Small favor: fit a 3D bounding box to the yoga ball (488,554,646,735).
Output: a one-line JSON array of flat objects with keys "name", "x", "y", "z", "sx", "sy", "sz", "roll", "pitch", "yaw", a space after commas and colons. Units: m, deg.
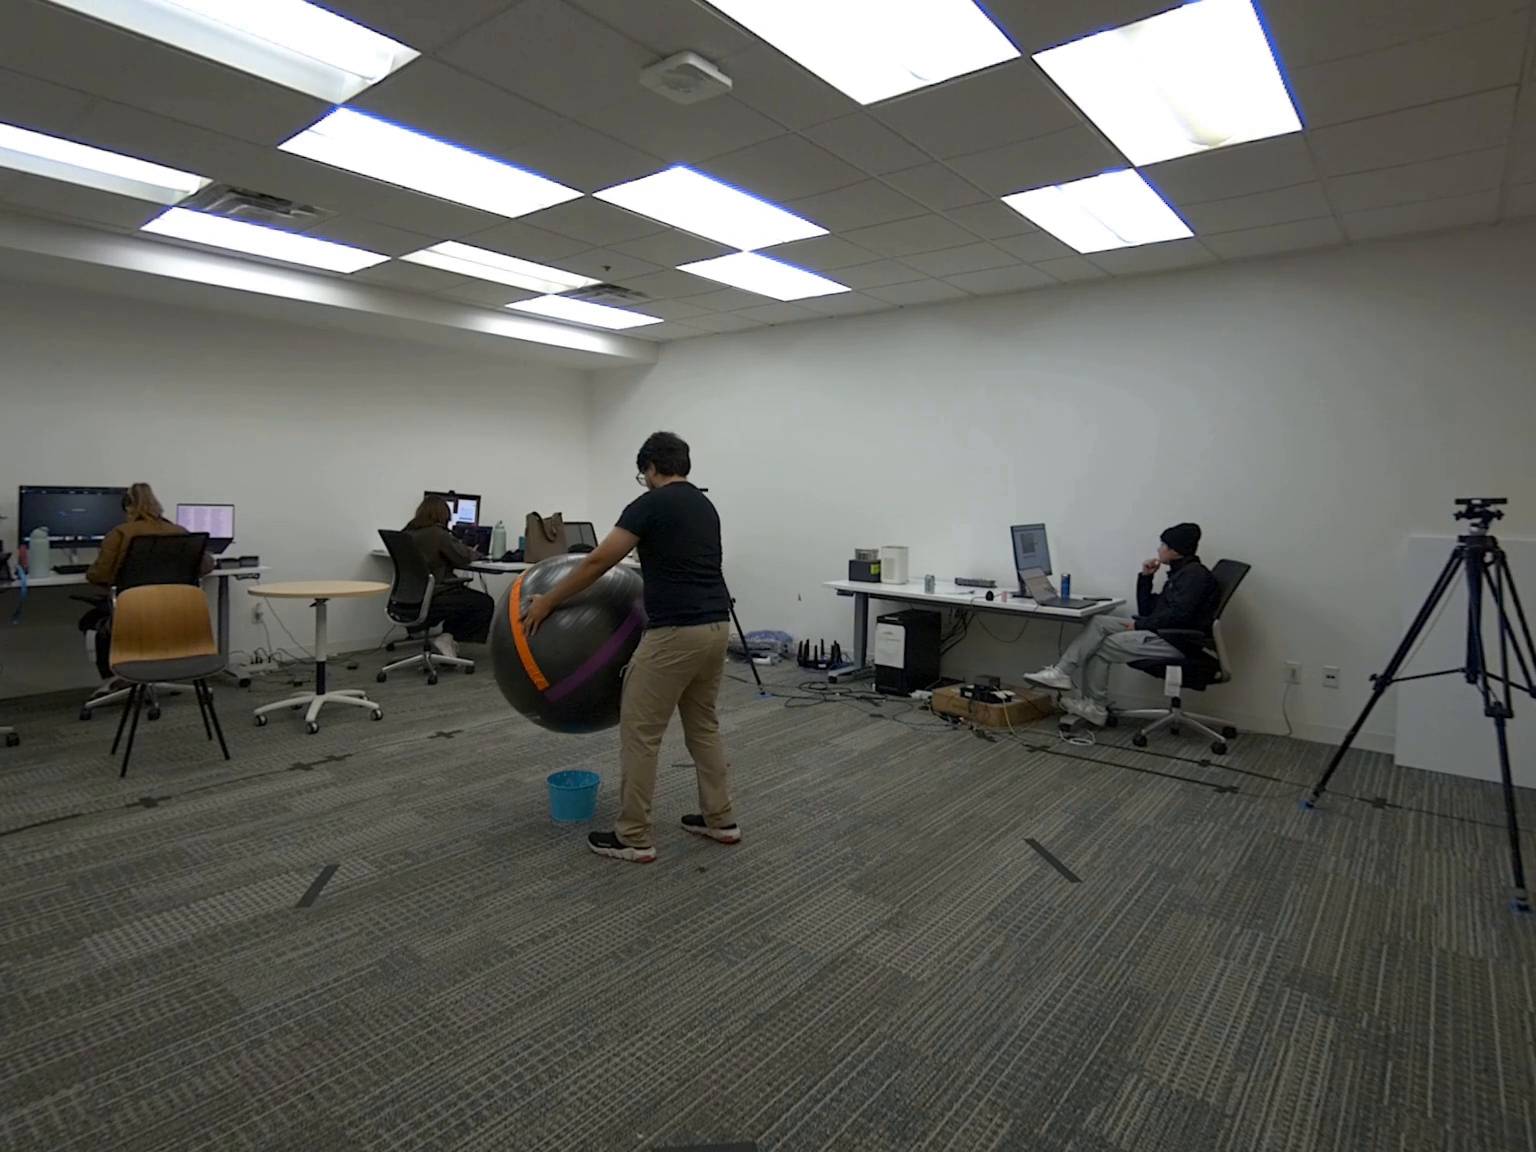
[{"name": "yoga ball", "x": -0.813, "y": 0.286, "z": 3.625, "sx": 0.757, "sy": 0.755, "sz": 0.762, "roll": 1, "pitch": 4, "yaw": -2}]
